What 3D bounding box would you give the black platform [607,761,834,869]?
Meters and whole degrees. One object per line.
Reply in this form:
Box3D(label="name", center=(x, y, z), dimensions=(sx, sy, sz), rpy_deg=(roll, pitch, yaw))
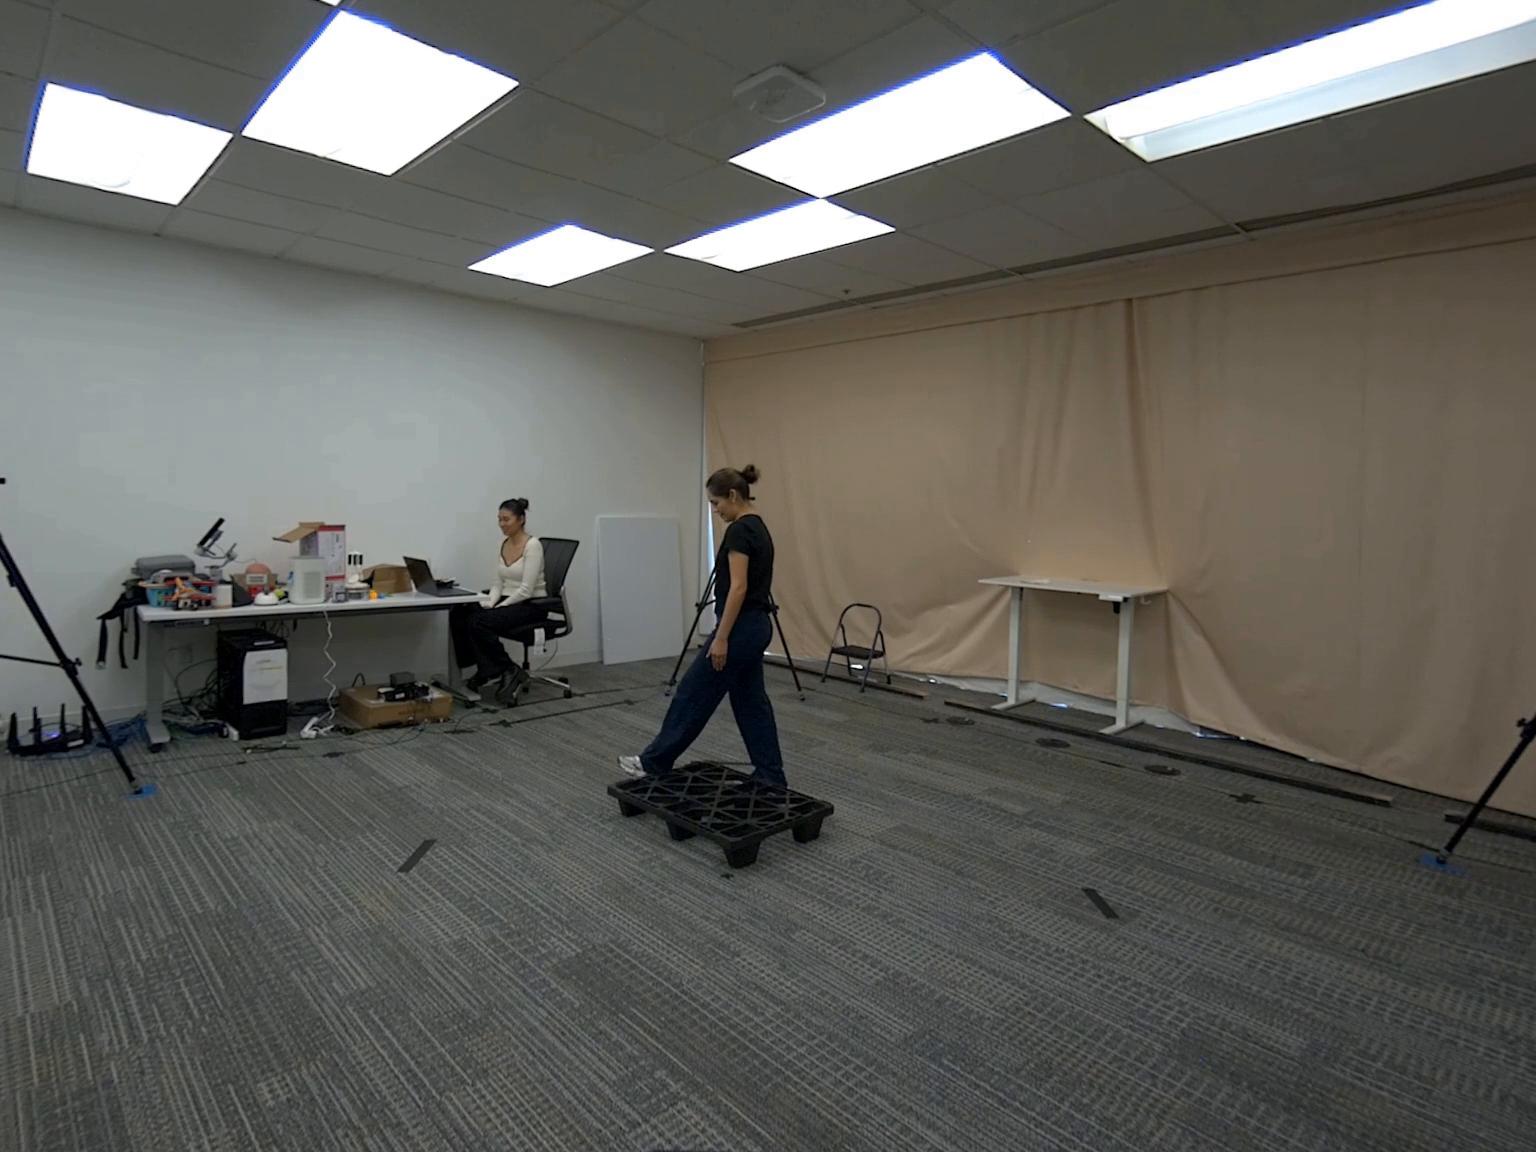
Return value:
Box3D(label="black platform", center=(-0.219, 1.000, 3.559), dimensions=(0.826, 0.143, 0.591), rpy_deg=(6, 7, 45))
